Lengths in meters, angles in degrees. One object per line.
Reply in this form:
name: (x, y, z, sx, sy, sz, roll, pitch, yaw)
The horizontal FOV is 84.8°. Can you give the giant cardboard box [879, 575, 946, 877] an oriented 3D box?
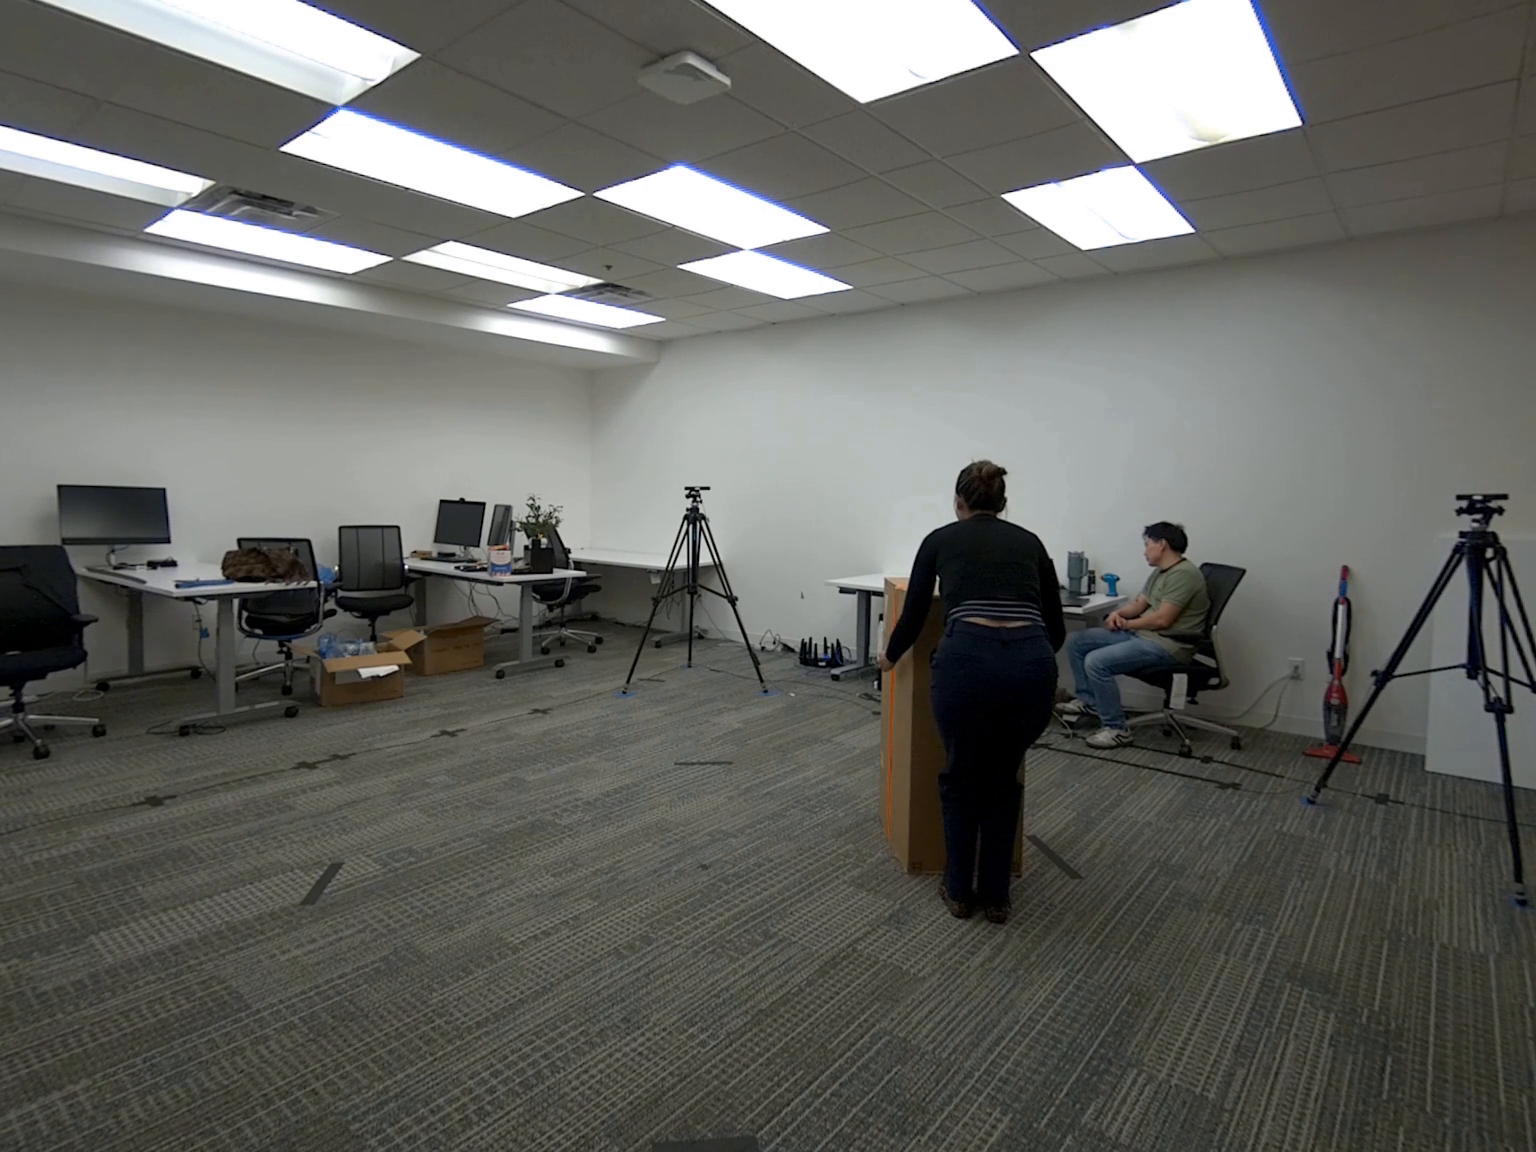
giant cardboard box: (0.695, 0.546, 3.345, 0.426, 1.022, 0.580, 1, 4, -1)
